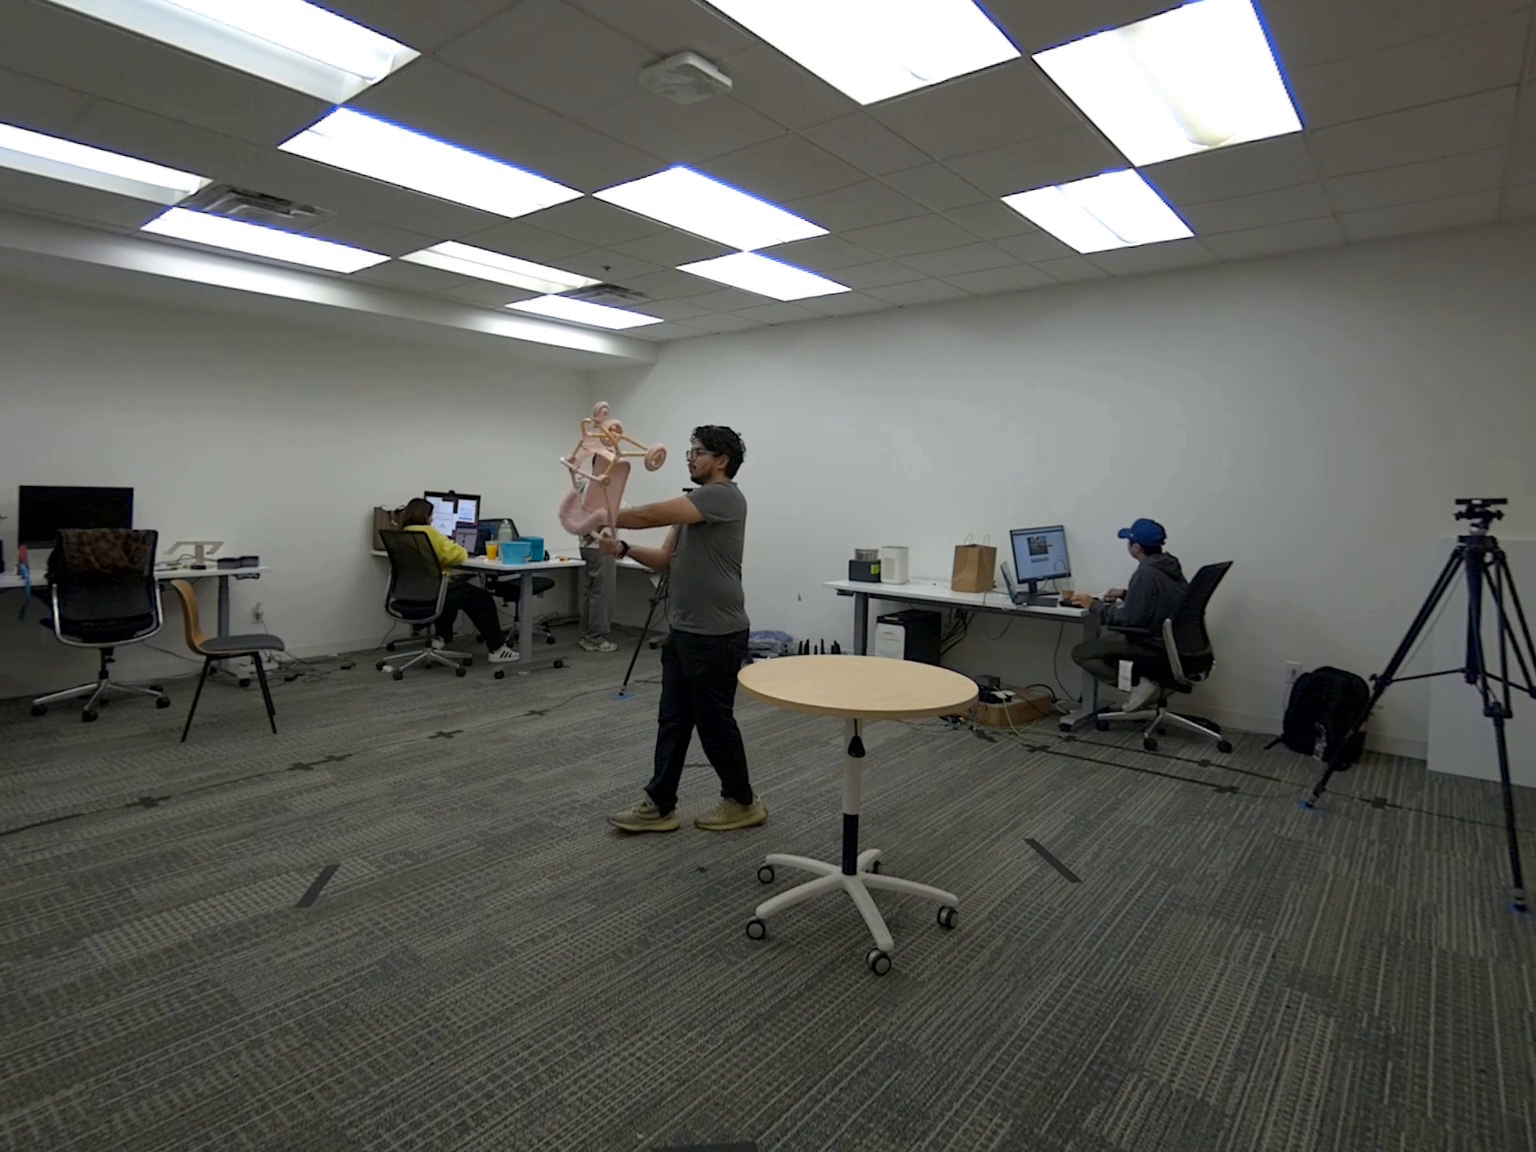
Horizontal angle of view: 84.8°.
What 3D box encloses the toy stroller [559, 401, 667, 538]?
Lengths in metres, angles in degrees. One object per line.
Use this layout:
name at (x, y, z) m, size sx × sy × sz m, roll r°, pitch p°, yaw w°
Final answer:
toy stroller at (-0.645, -0.376, 3.191) m, size 0.291 × 0.533 × 0.331 m, roll 31°, pitch 11°, yaw 25°
